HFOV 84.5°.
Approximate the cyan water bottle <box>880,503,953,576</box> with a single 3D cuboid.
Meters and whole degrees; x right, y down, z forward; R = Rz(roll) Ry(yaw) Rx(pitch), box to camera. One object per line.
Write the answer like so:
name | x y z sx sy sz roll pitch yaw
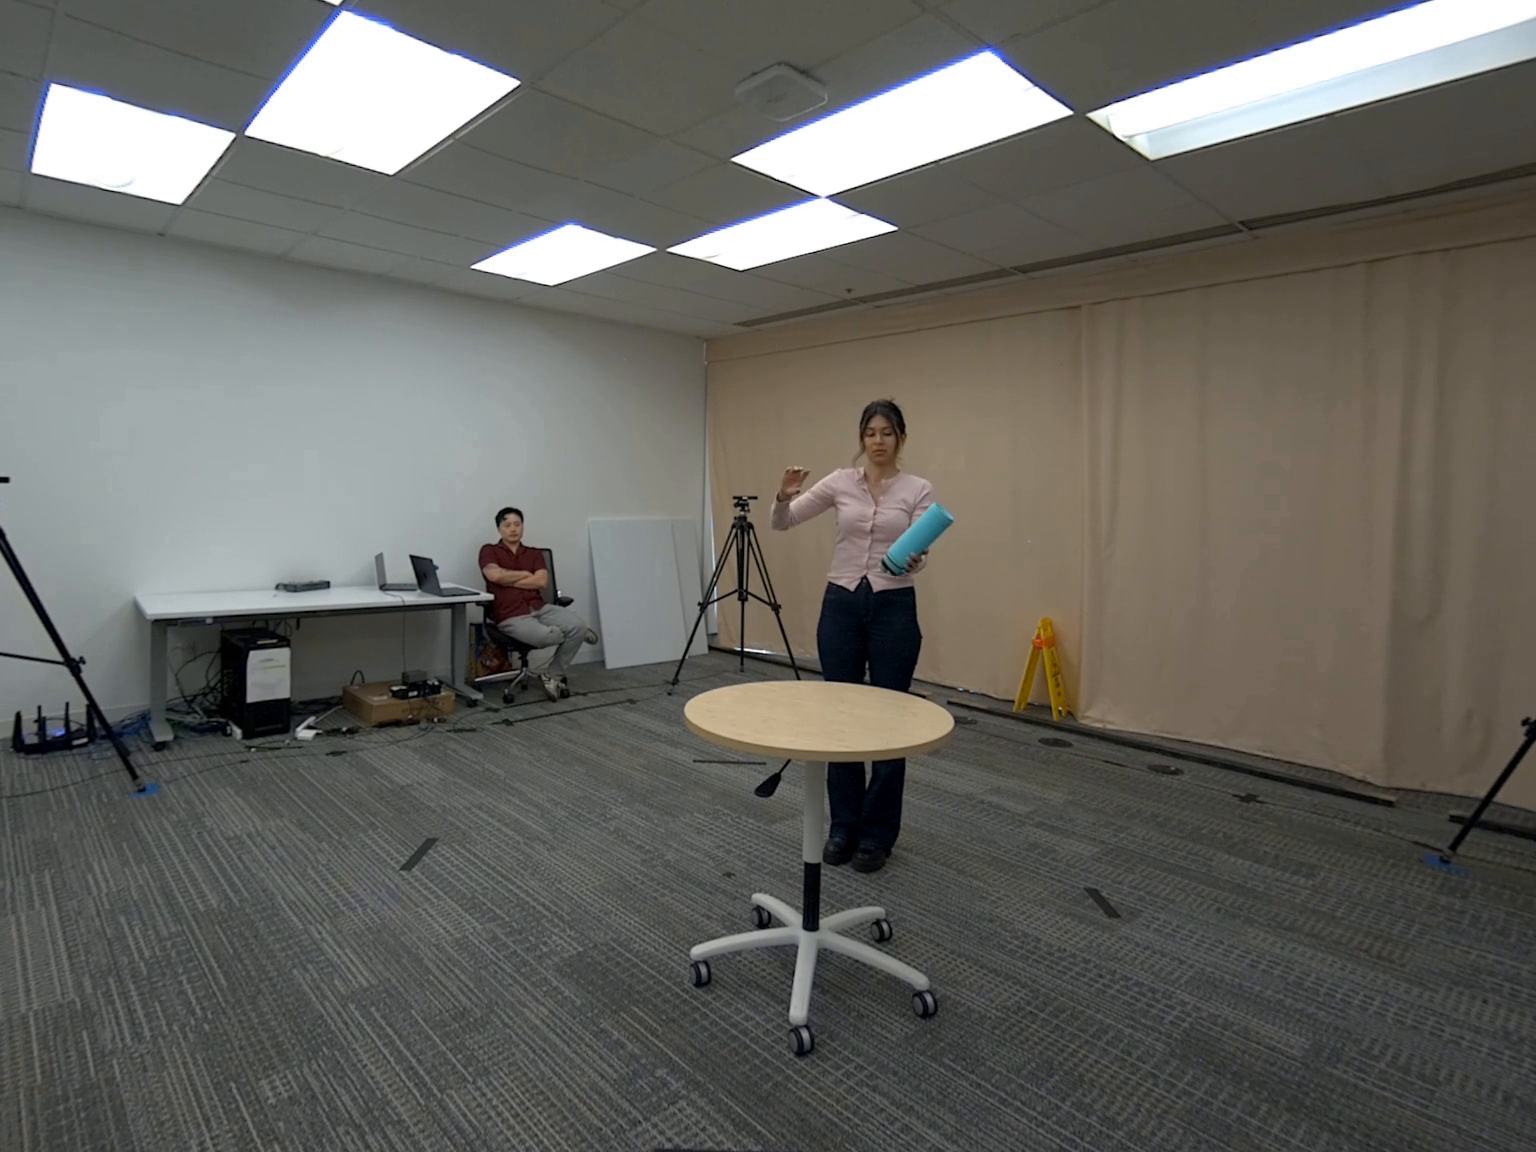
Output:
cyan water bottle | 0.474 -0.115 2.770 0.091 0.283 0.094 37 21 -18
